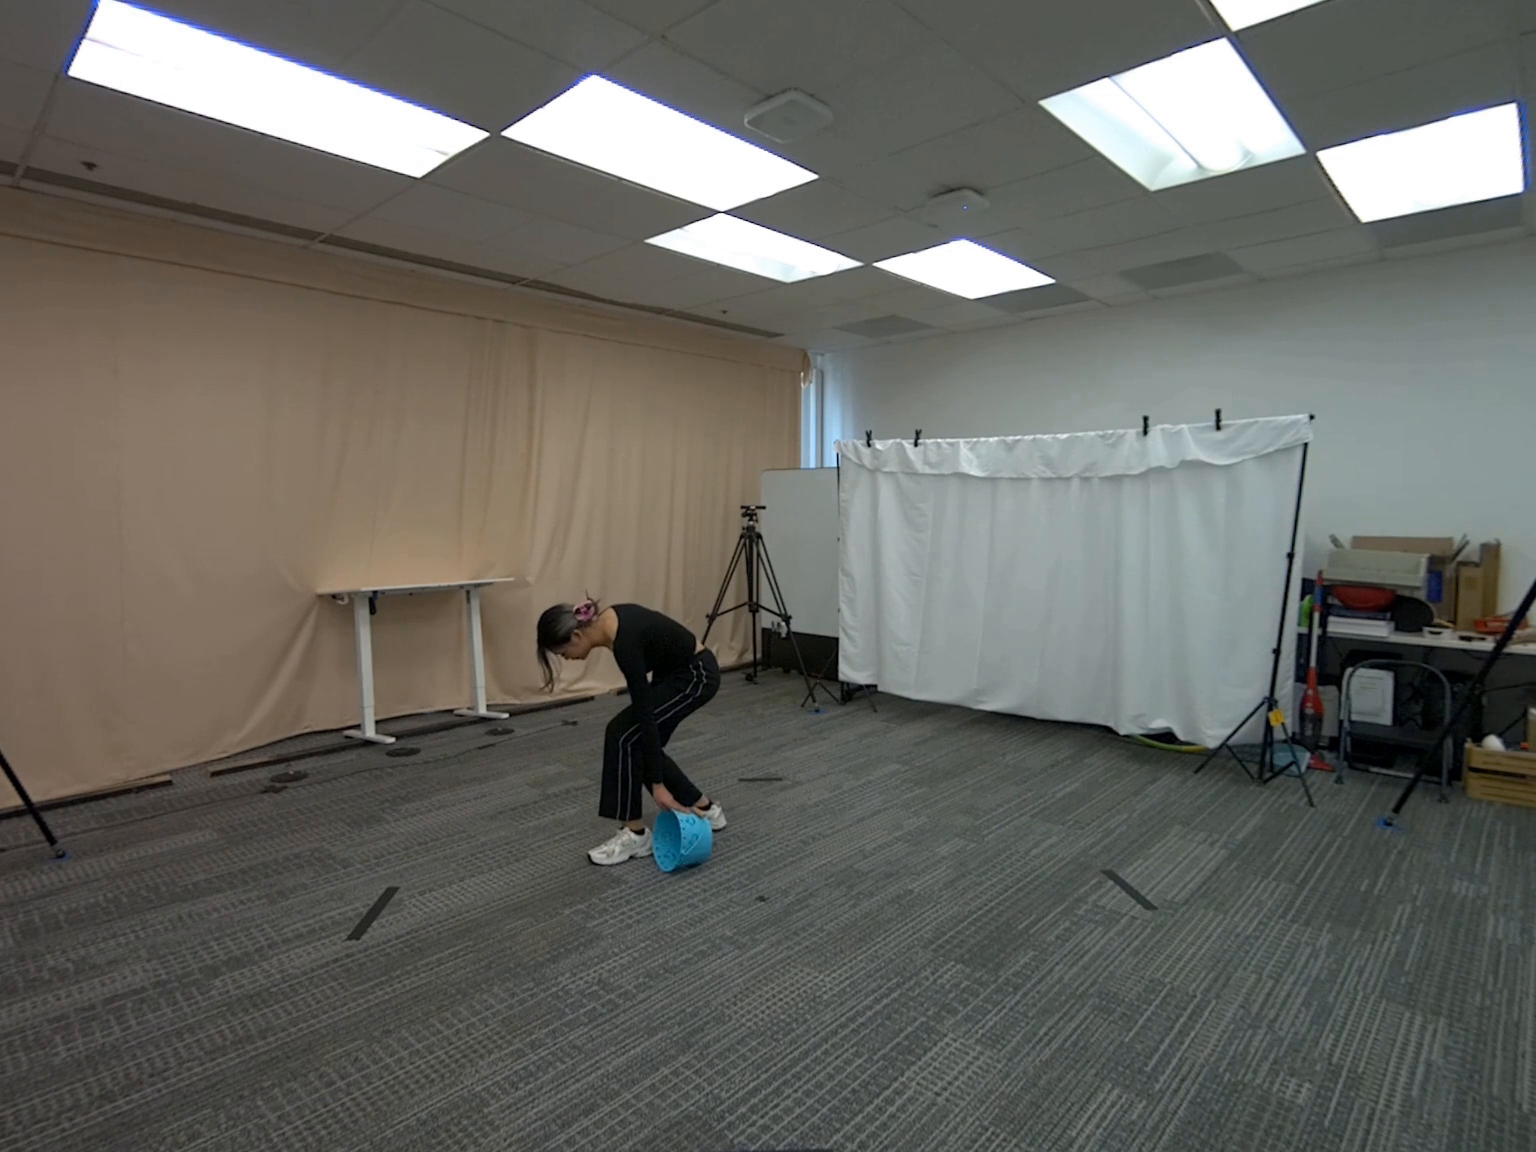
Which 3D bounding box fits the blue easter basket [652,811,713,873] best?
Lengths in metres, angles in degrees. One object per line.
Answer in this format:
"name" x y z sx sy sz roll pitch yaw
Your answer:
"blue easter basket" -0.330 1.014 3.260 0.151 0.244 0.251 9 -2 -34
